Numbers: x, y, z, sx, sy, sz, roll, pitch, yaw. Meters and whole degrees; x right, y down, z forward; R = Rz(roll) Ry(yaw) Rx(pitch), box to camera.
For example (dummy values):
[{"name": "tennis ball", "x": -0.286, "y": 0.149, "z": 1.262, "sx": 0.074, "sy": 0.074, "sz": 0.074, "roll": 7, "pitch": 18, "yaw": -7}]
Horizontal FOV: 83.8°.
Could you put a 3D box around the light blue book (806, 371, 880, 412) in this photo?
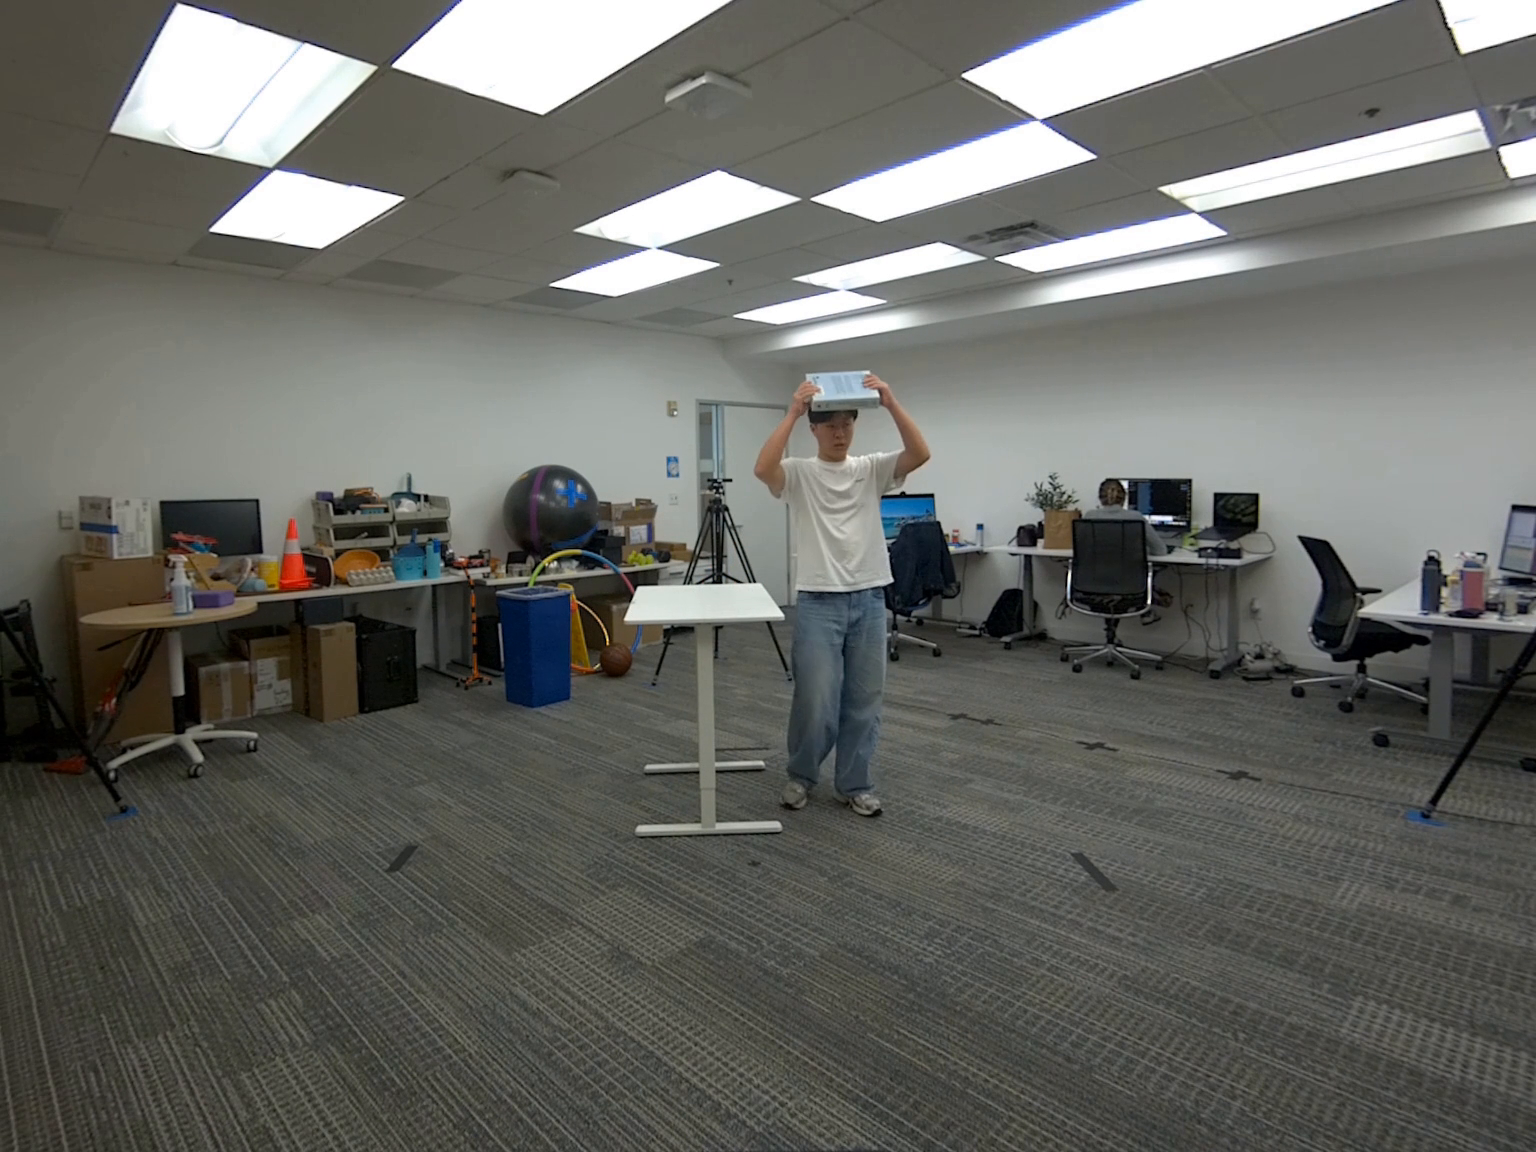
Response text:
[{"name": "light blue book", "x": 0.291, "y": -0.710, "z": 3.383, "sx": 0.260, "sy": 0.057, "sz": 0.197, "roll": -4, "pitch": 44, "yaw": -3}]
